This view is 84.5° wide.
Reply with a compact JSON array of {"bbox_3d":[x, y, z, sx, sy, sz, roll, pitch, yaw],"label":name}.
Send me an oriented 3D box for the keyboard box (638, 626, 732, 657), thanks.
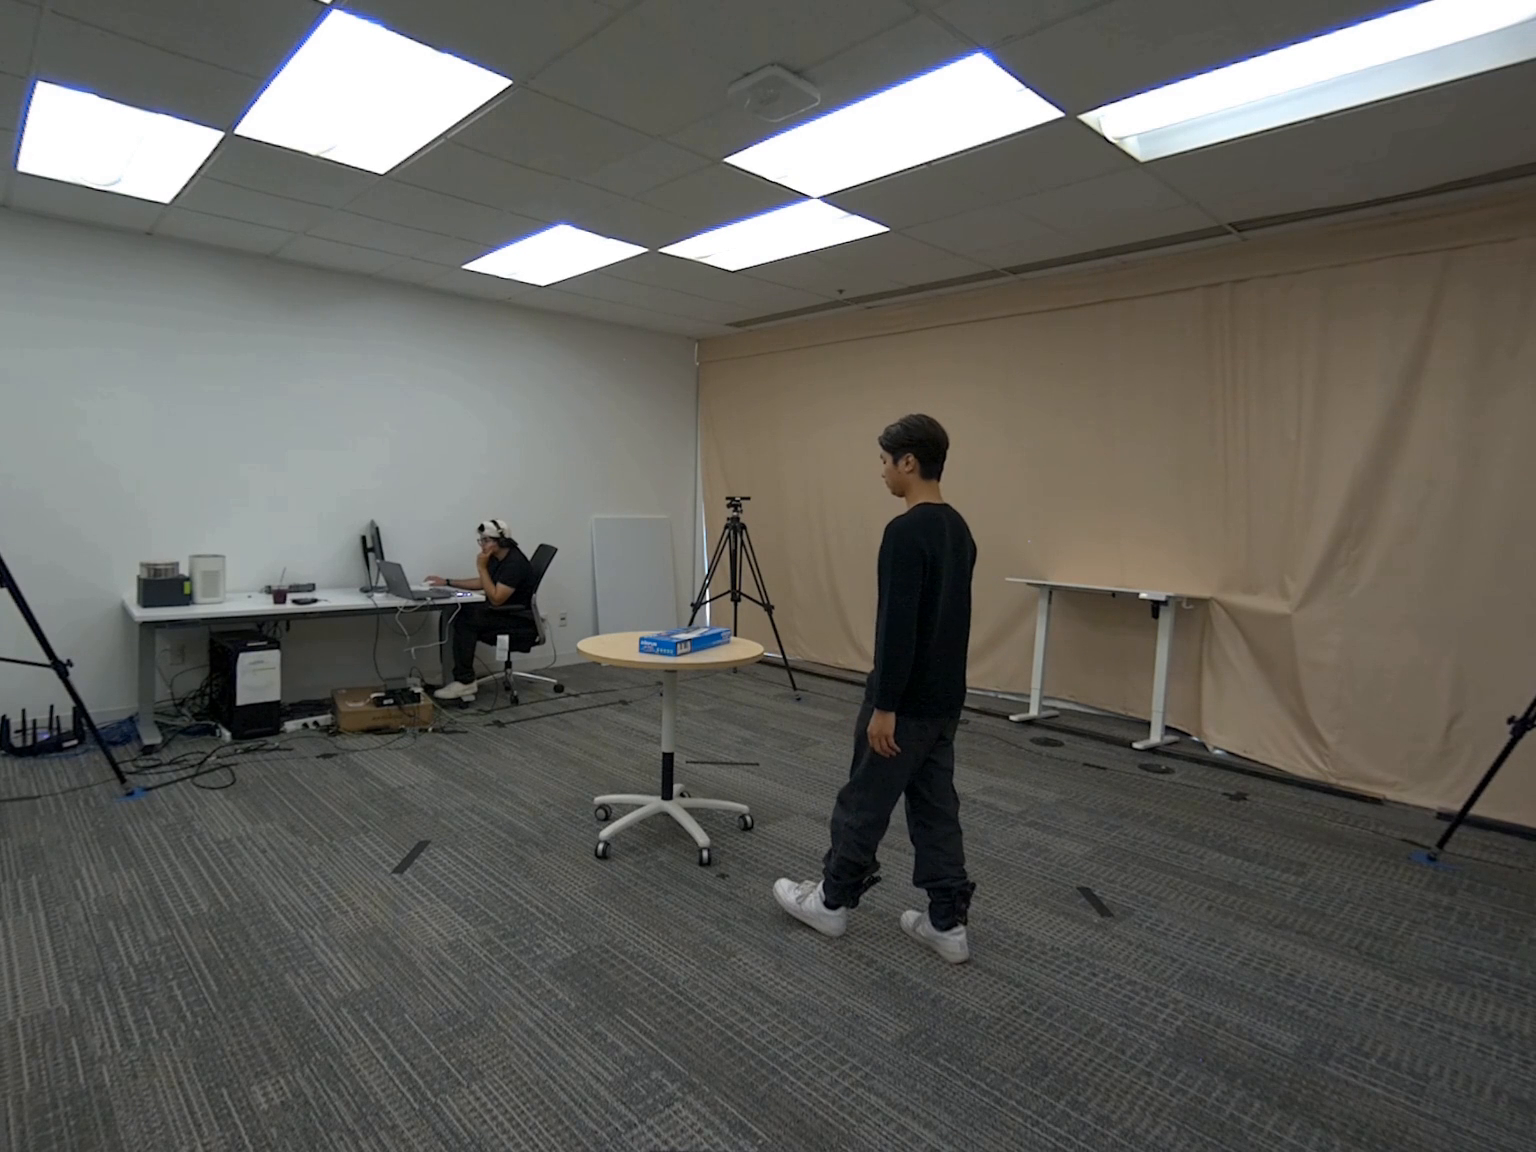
[{"bbox_3d":[-0.337,0.260,3.429,0.179,0.059,0.429,4,5,26],"label":"keyboard box"}]
